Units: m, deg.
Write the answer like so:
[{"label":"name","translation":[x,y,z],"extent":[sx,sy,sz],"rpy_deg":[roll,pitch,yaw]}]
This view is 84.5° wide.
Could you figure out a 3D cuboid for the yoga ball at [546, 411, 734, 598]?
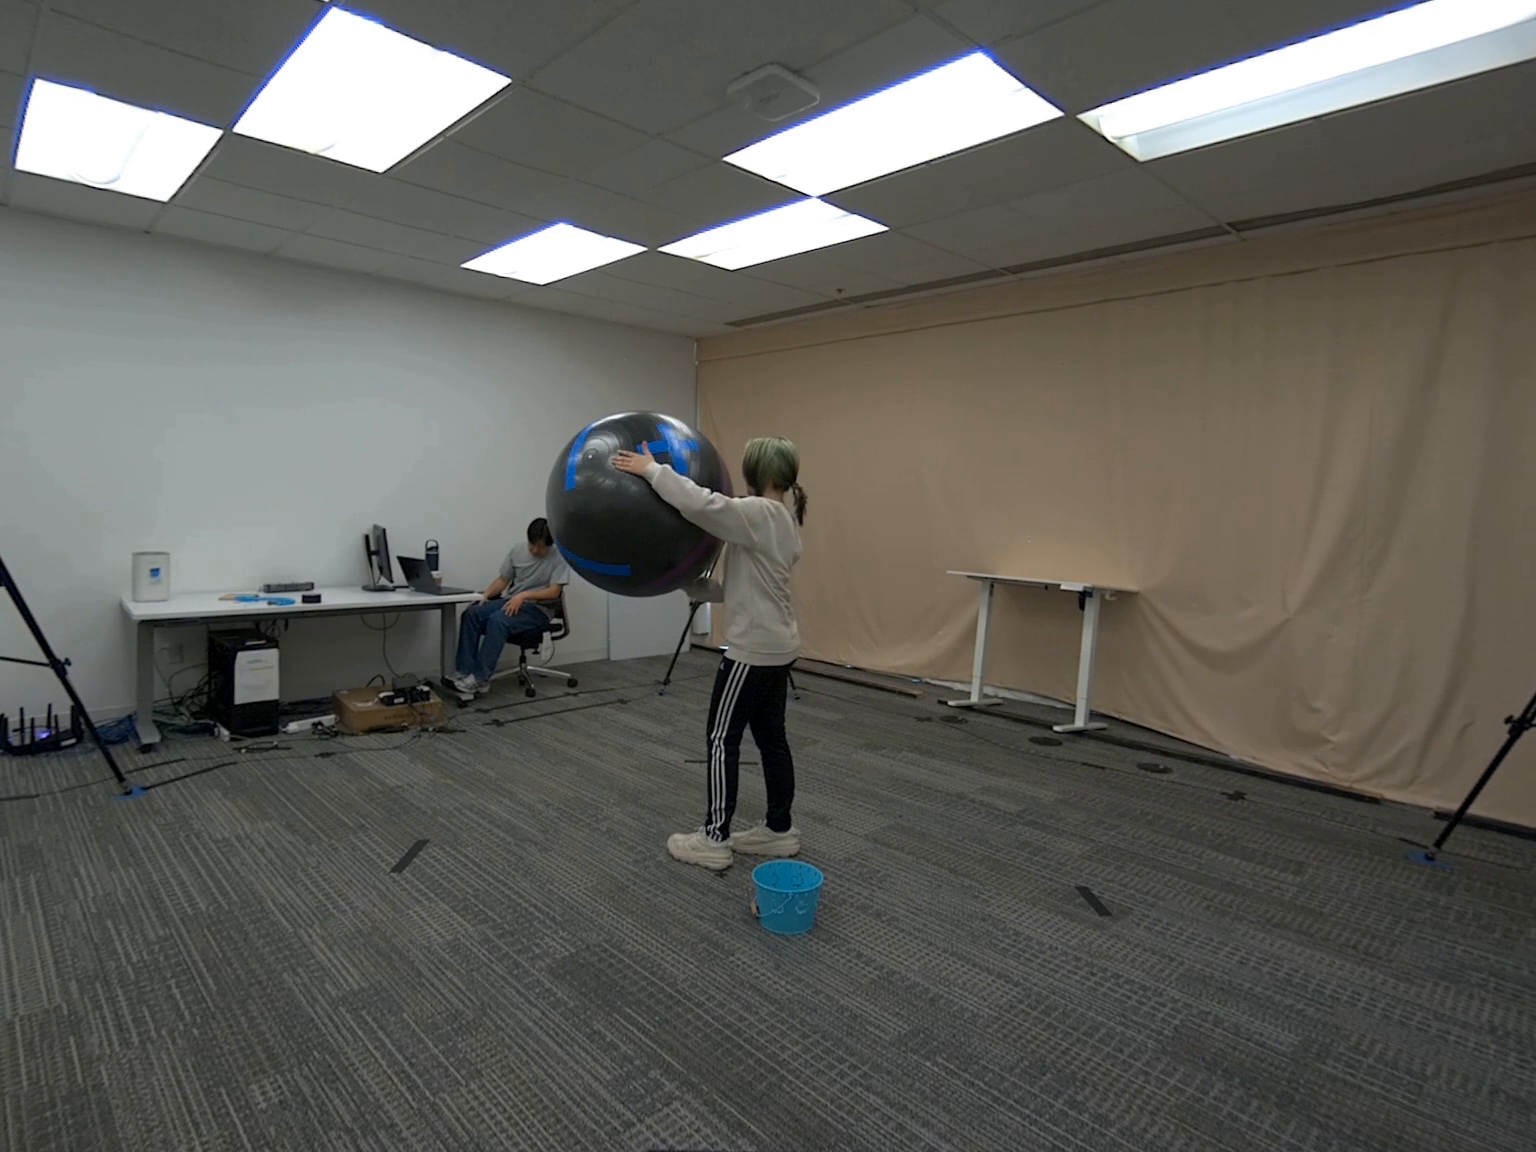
[{"label":"yoga ball","translation":[-0.537,-0.286,3.429],"extent":[0.757,0.756,0.761],"rpy_deg":[1,4,-1]}]
